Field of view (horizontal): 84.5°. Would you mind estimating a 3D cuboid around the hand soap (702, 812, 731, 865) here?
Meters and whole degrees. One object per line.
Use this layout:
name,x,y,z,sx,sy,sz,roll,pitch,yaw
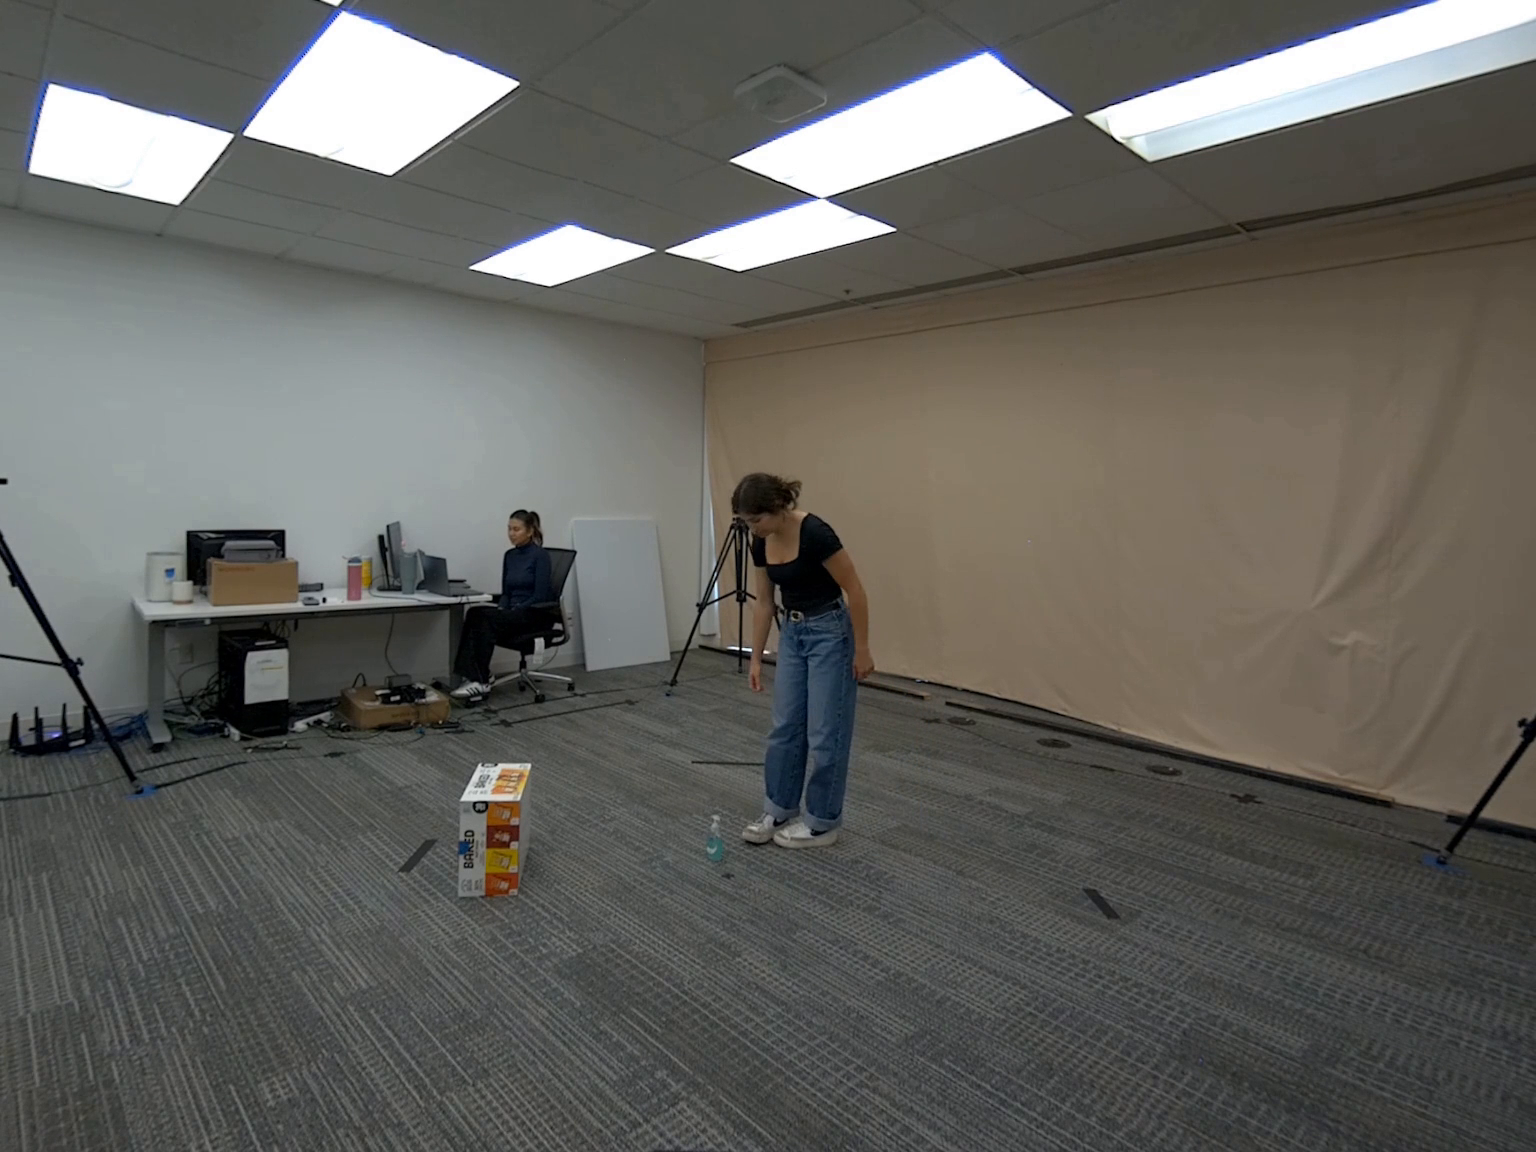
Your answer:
hand soap,-0.216,1.013,3.245,0.042,0.168,0.086,2,0,-37
